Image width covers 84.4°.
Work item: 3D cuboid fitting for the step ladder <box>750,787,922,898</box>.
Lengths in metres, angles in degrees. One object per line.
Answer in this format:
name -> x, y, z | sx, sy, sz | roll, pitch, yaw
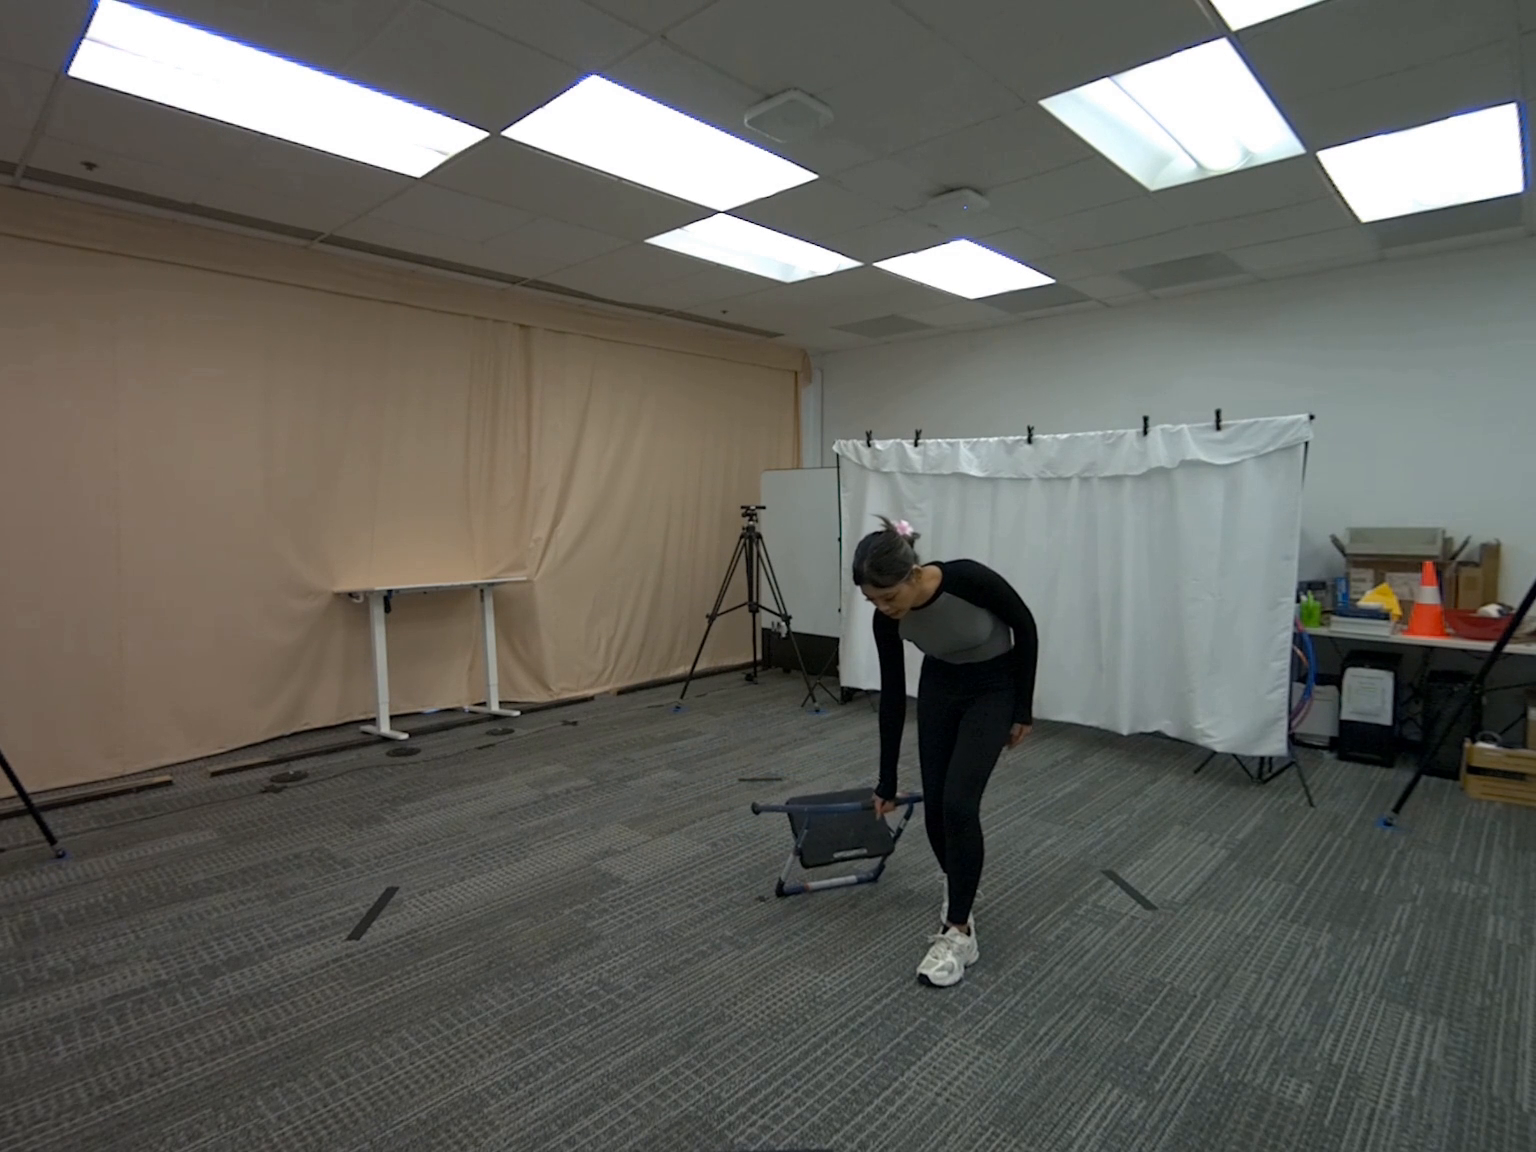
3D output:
step ladder -> 0.265, 0.830, 2.932 | 0.422, 0.358, 0.604 | -2, -35, -21
